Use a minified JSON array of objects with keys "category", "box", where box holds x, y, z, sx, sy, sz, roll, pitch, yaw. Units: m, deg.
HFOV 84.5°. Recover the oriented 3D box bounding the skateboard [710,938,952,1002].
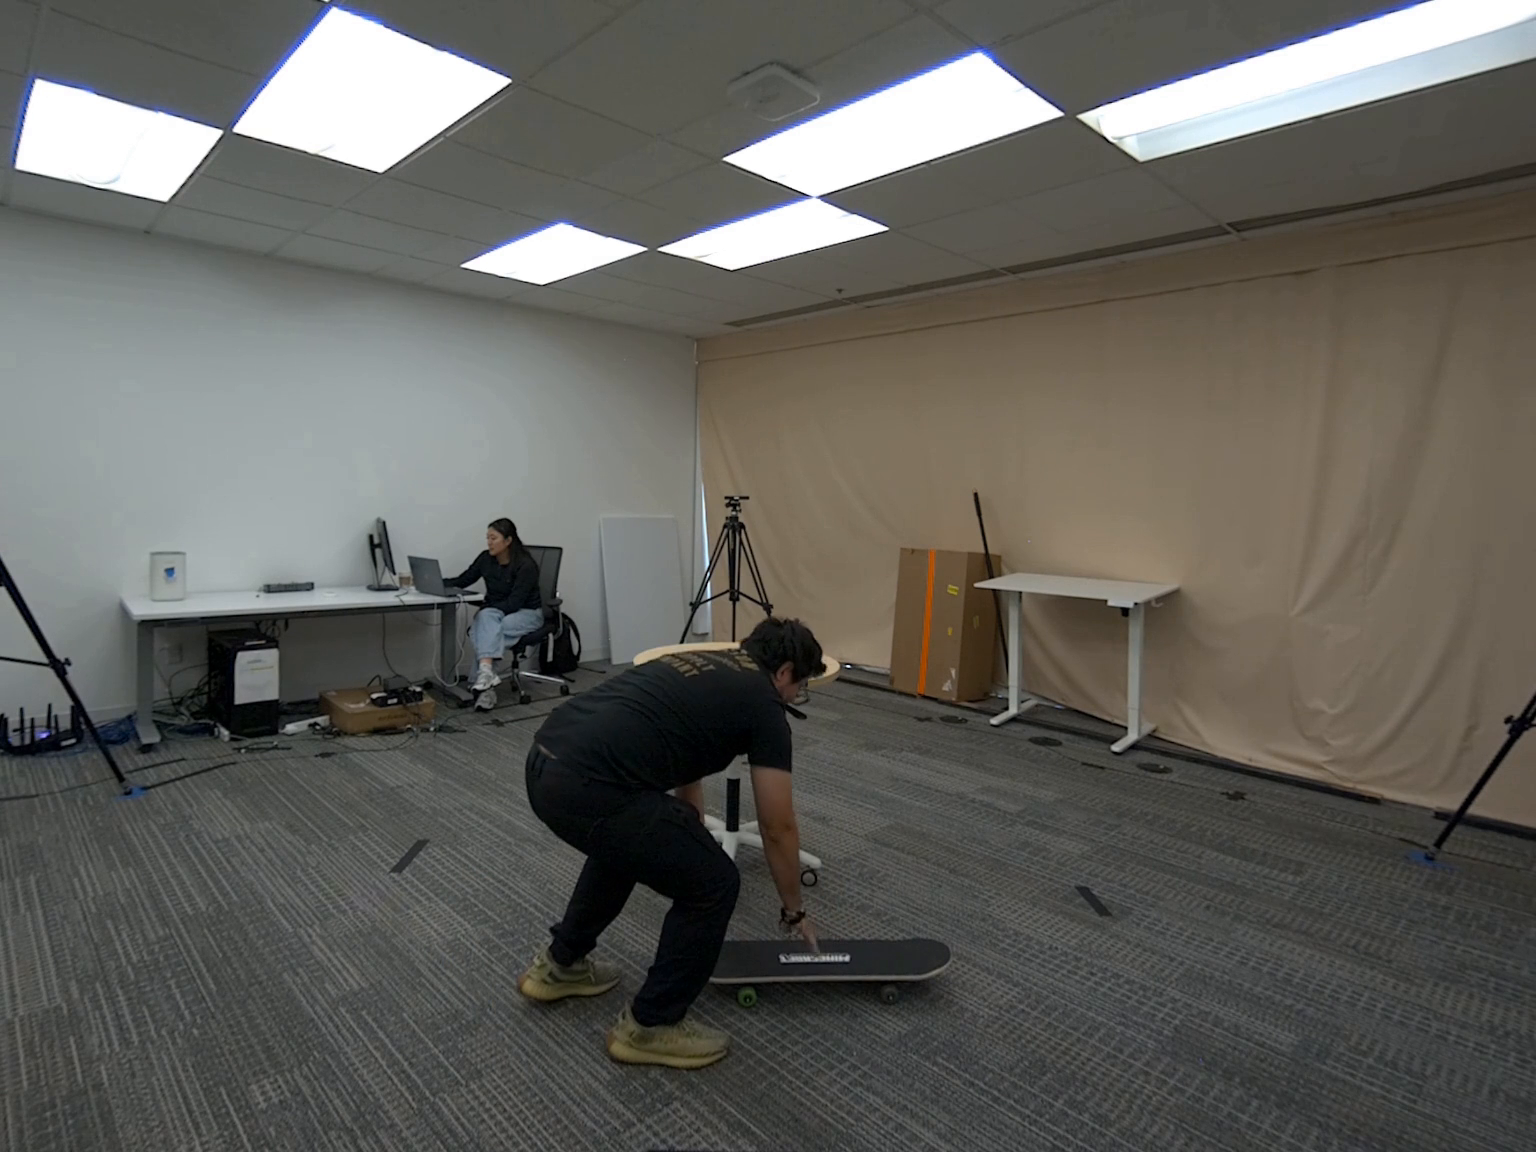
[{"category":"skateboard","box":[0.128,1.122,2.398,0.783,0.110,0.194,1,5,-3]}]
